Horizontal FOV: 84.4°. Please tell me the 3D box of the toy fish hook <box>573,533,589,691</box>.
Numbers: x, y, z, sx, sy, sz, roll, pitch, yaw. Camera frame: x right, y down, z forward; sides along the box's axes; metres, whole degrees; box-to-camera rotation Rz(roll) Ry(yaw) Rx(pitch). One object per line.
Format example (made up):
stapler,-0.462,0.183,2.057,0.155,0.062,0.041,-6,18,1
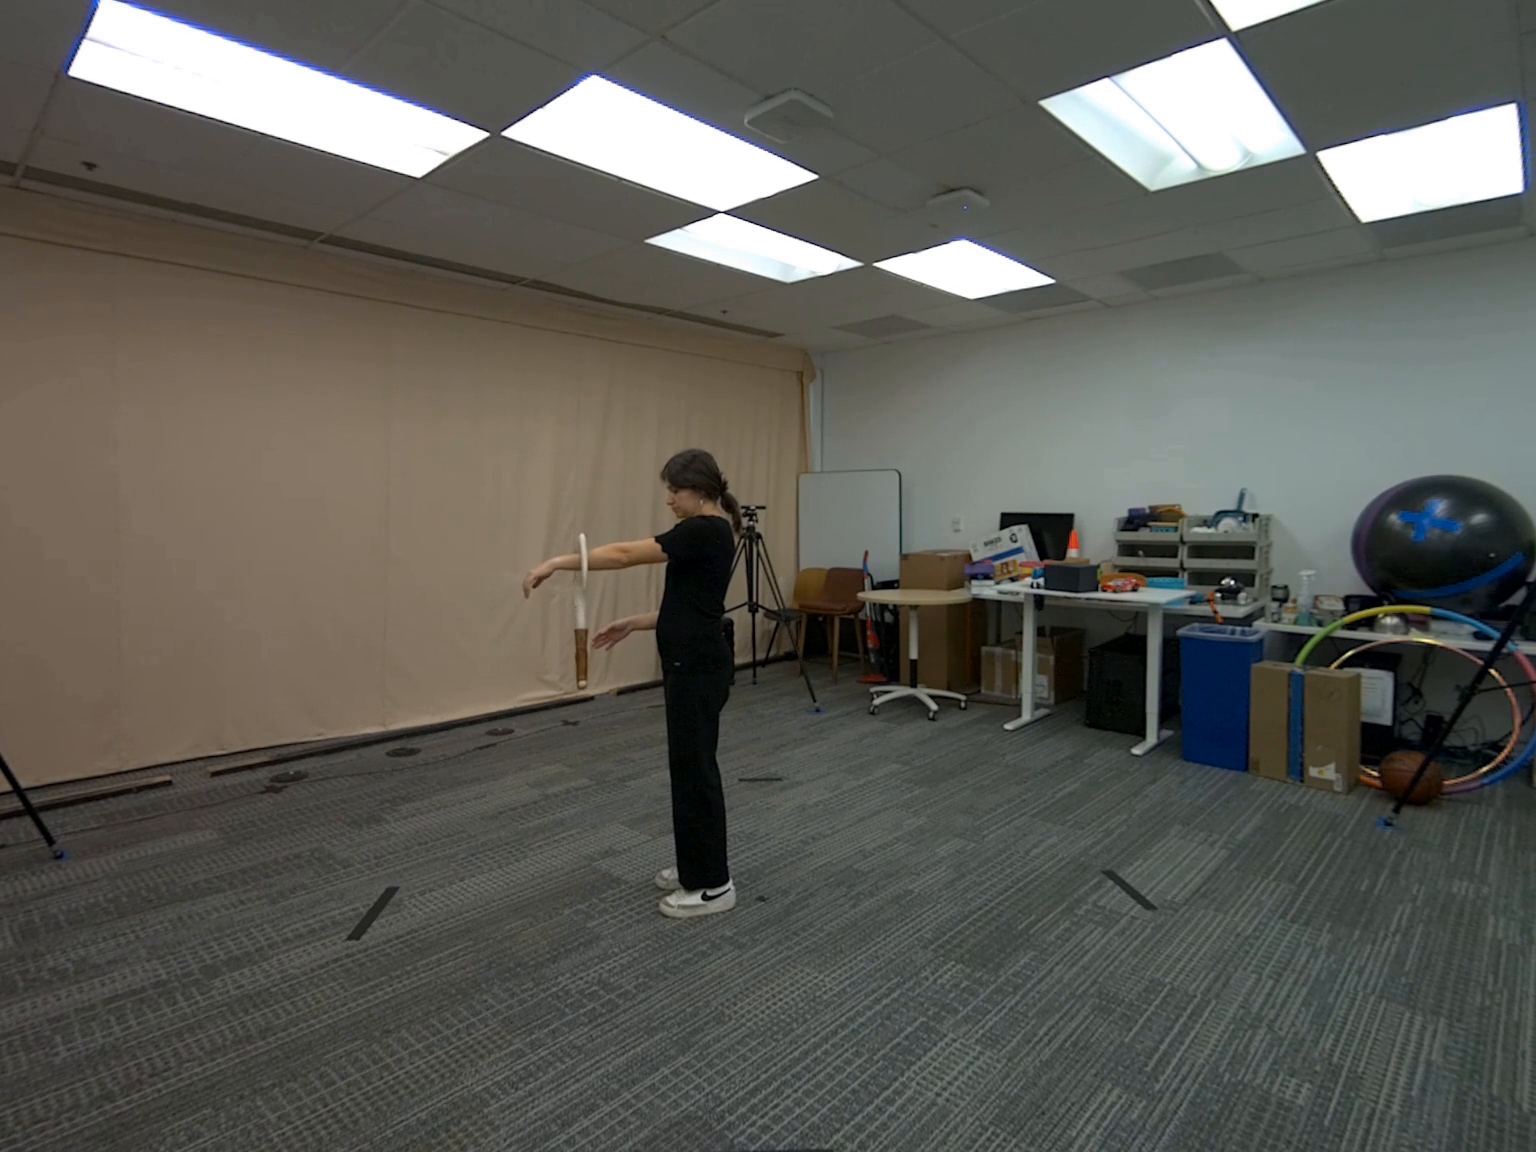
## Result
toy fish hook,-0.616,0.119,2.772,0.048,0.508,0.226,-2,-4,-11
